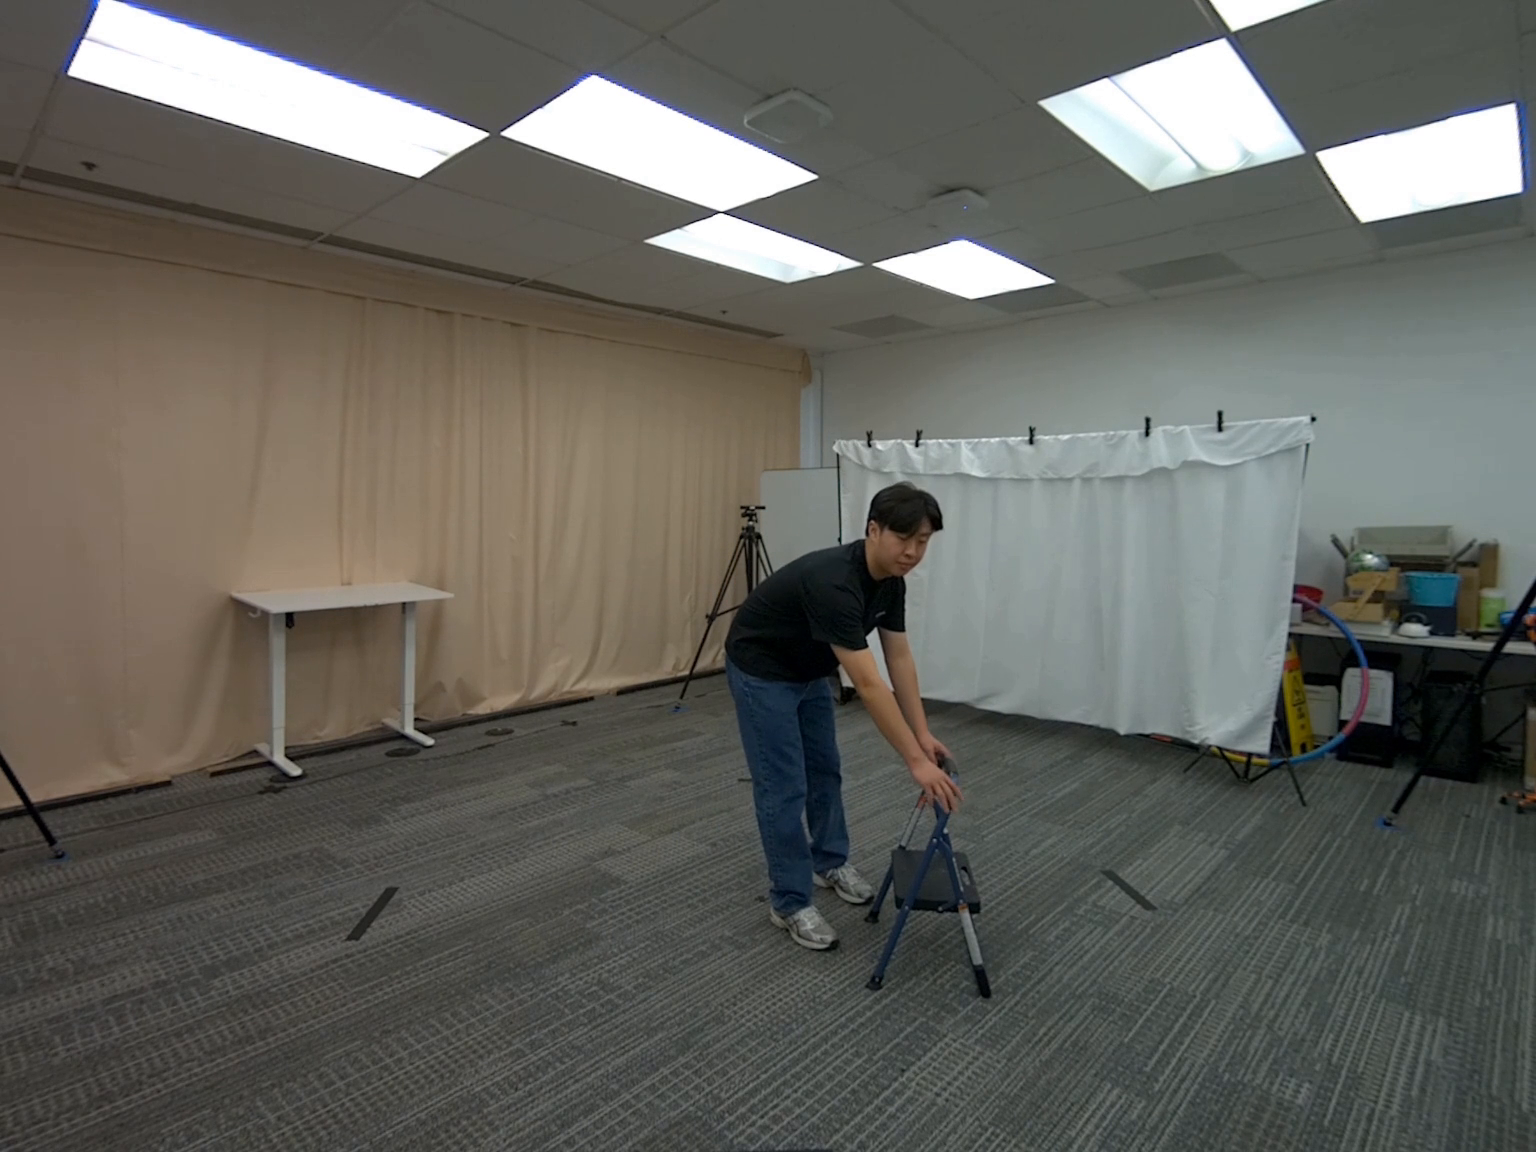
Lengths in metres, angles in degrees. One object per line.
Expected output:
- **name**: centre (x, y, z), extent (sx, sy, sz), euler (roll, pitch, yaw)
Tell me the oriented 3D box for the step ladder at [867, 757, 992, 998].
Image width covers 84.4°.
- **step ladder**: centre (0.491, 0.874, 2.583), extent (0.352, 0.605, 0.428), euler (1, 4, 7)
